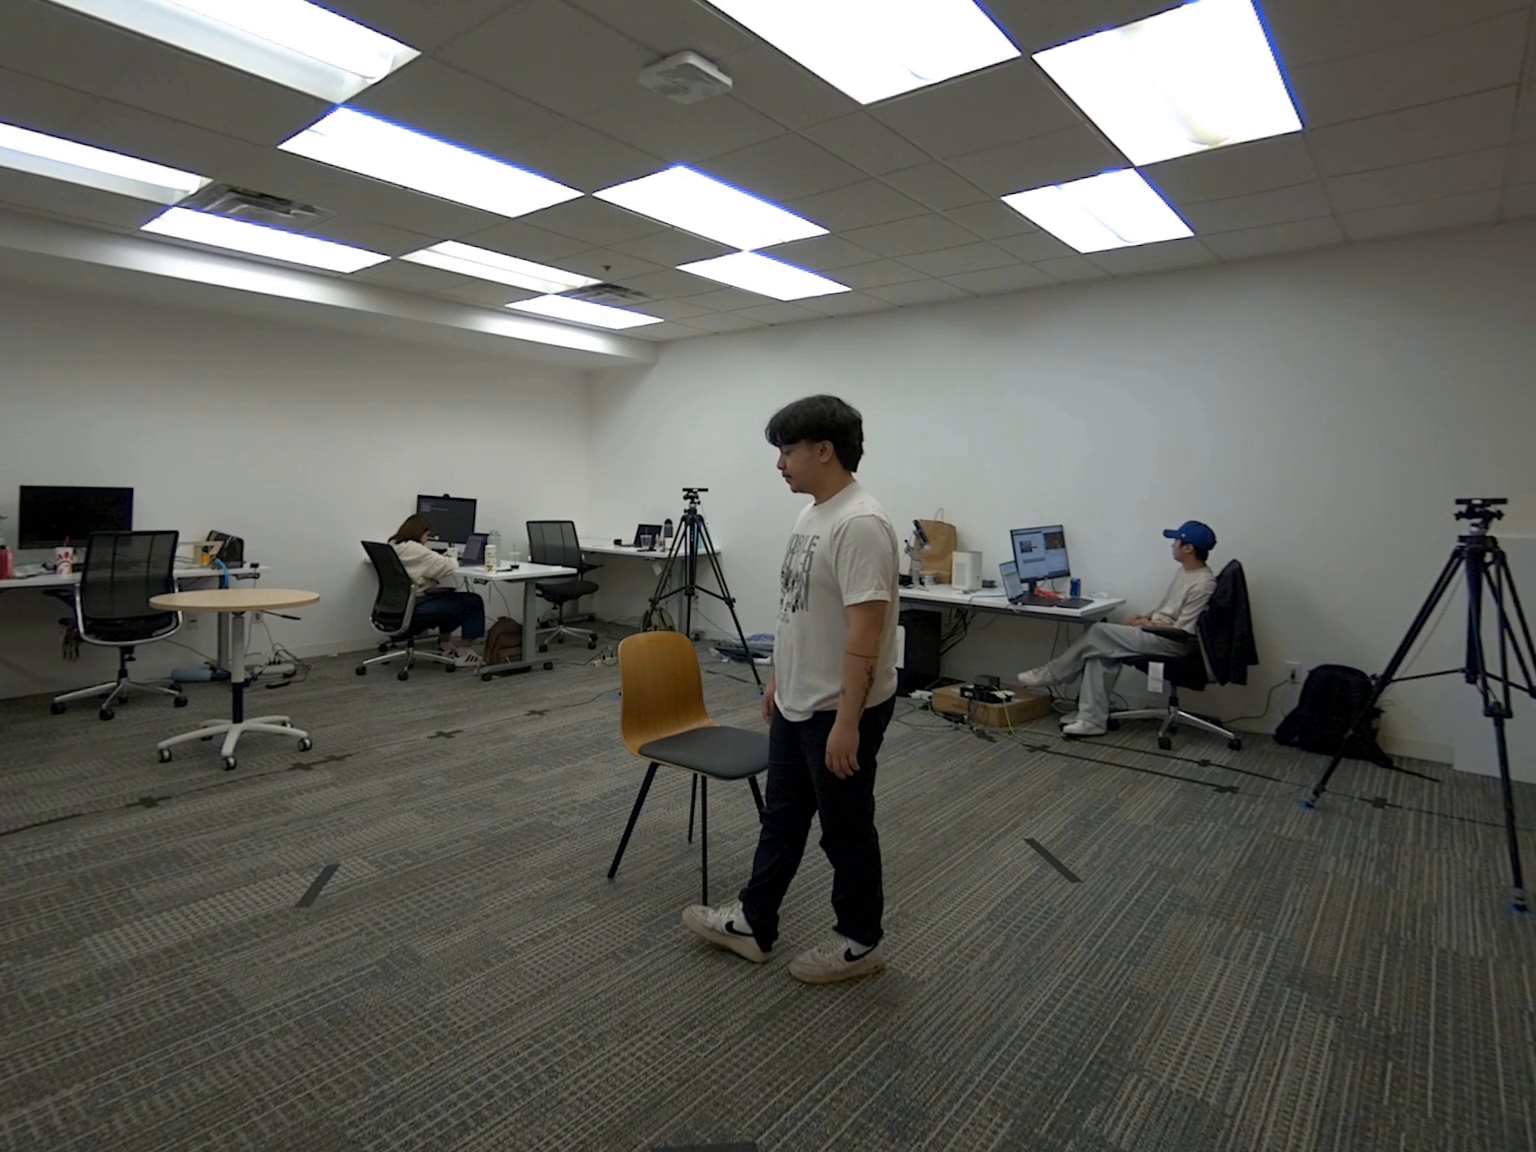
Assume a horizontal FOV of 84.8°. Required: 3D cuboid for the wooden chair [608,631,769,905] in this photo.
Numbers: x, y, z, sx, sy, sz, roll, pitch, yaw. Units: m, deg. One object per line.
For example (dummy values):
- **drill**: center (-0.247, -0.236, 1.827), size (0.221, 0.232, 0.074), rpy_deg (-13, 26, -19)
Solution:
- **wooden chair**: center (-0.249, 0.649, 3.019), size (0.539, 0.877, 0.464), rpy_deg (-2, 0, 37)
